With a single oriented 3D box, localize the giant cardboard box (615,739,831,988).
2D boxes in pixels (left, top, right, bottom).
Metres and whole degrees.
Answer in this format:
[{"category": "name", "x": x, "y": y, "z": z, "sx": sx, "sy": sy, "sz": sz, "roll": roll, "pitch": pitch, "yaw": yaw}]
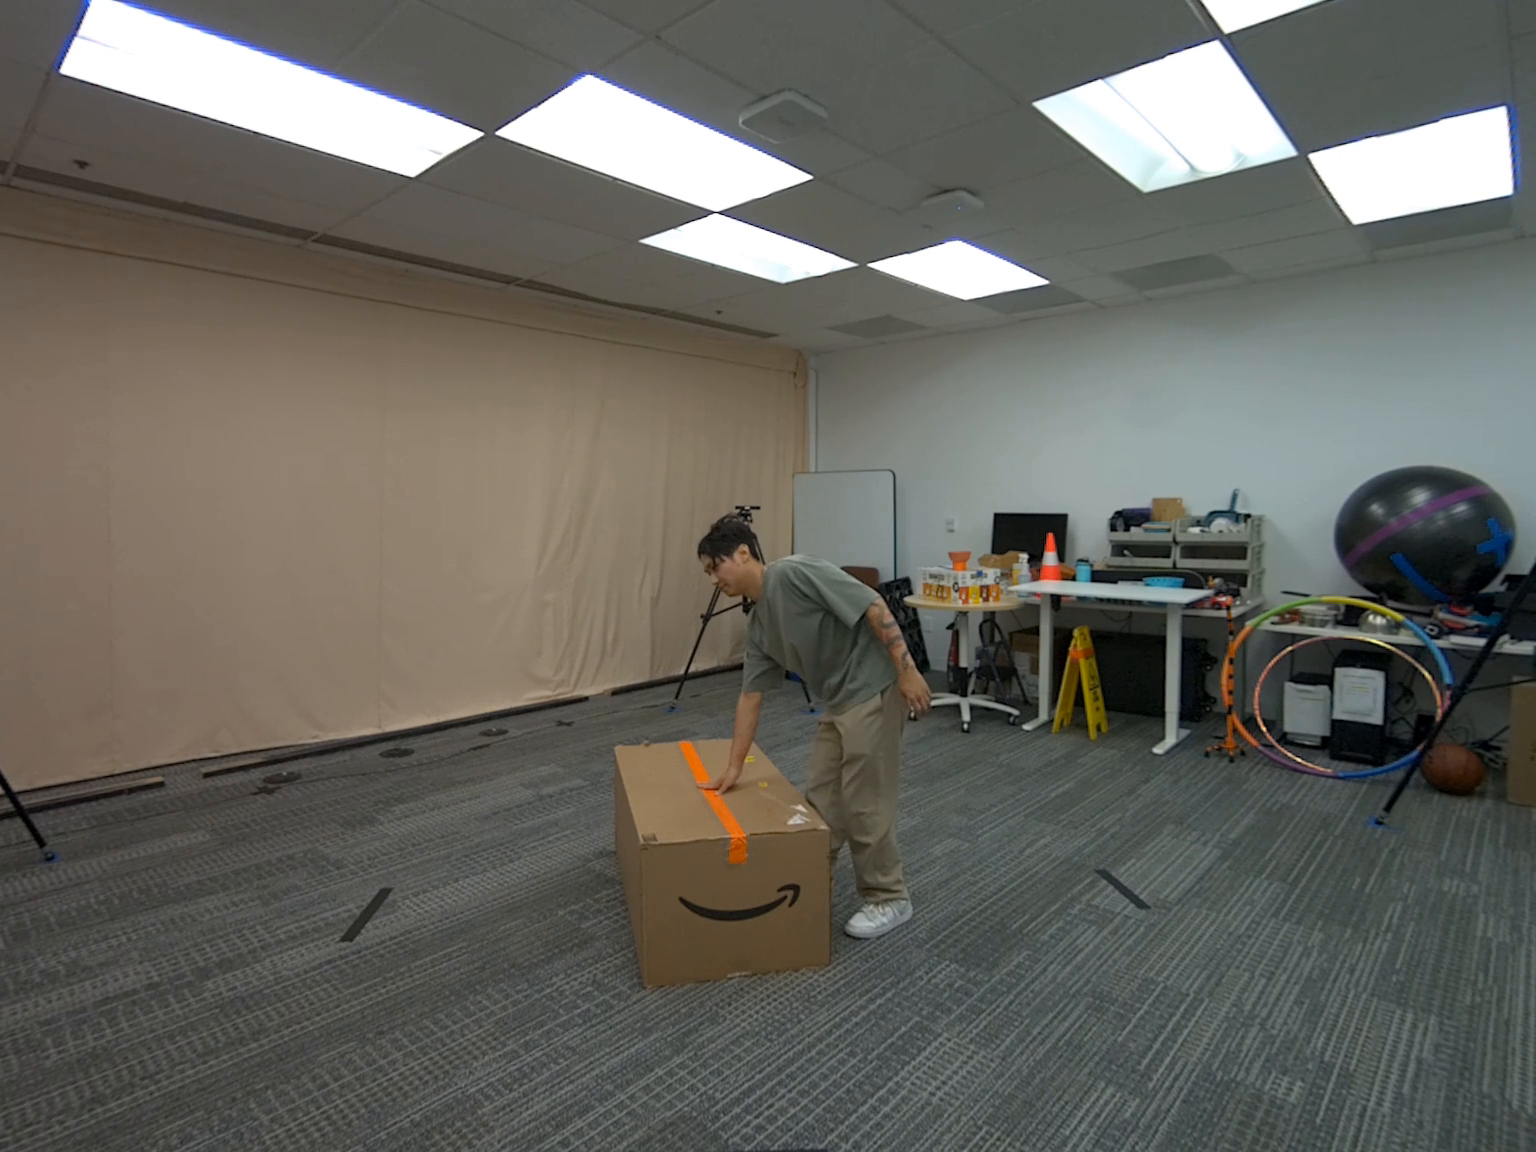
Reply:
[{"category": "giant cardboard box", "x": -0.217, "y": 0.933, "z": 2.974, "sx": 0.569, "sy": 0.425, "sz": 1.042, "roll": 0, "pitch": 4, "yaw": -14}]
